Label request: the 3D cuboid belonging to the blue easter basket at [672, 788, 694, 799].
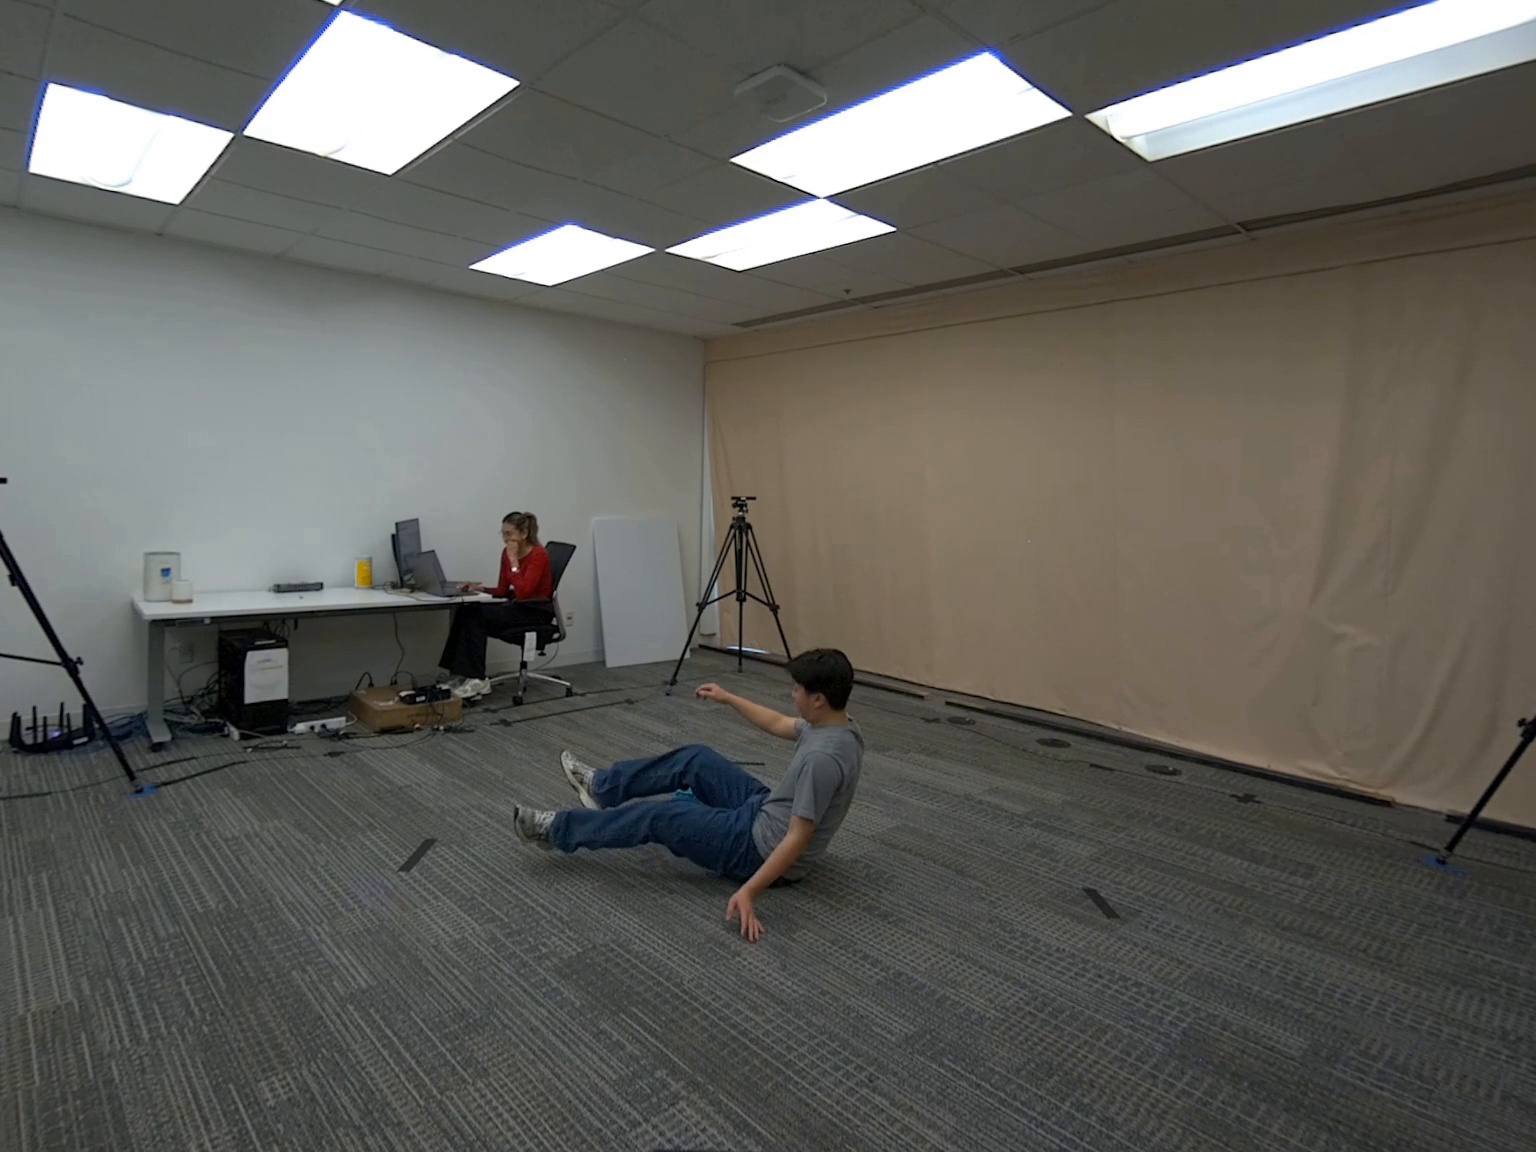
[{"bbox_3d":[-0.318,0.979,3.641,0.243,0.155,0.244,1,4,-1],"label":"blue easter basket"}]
